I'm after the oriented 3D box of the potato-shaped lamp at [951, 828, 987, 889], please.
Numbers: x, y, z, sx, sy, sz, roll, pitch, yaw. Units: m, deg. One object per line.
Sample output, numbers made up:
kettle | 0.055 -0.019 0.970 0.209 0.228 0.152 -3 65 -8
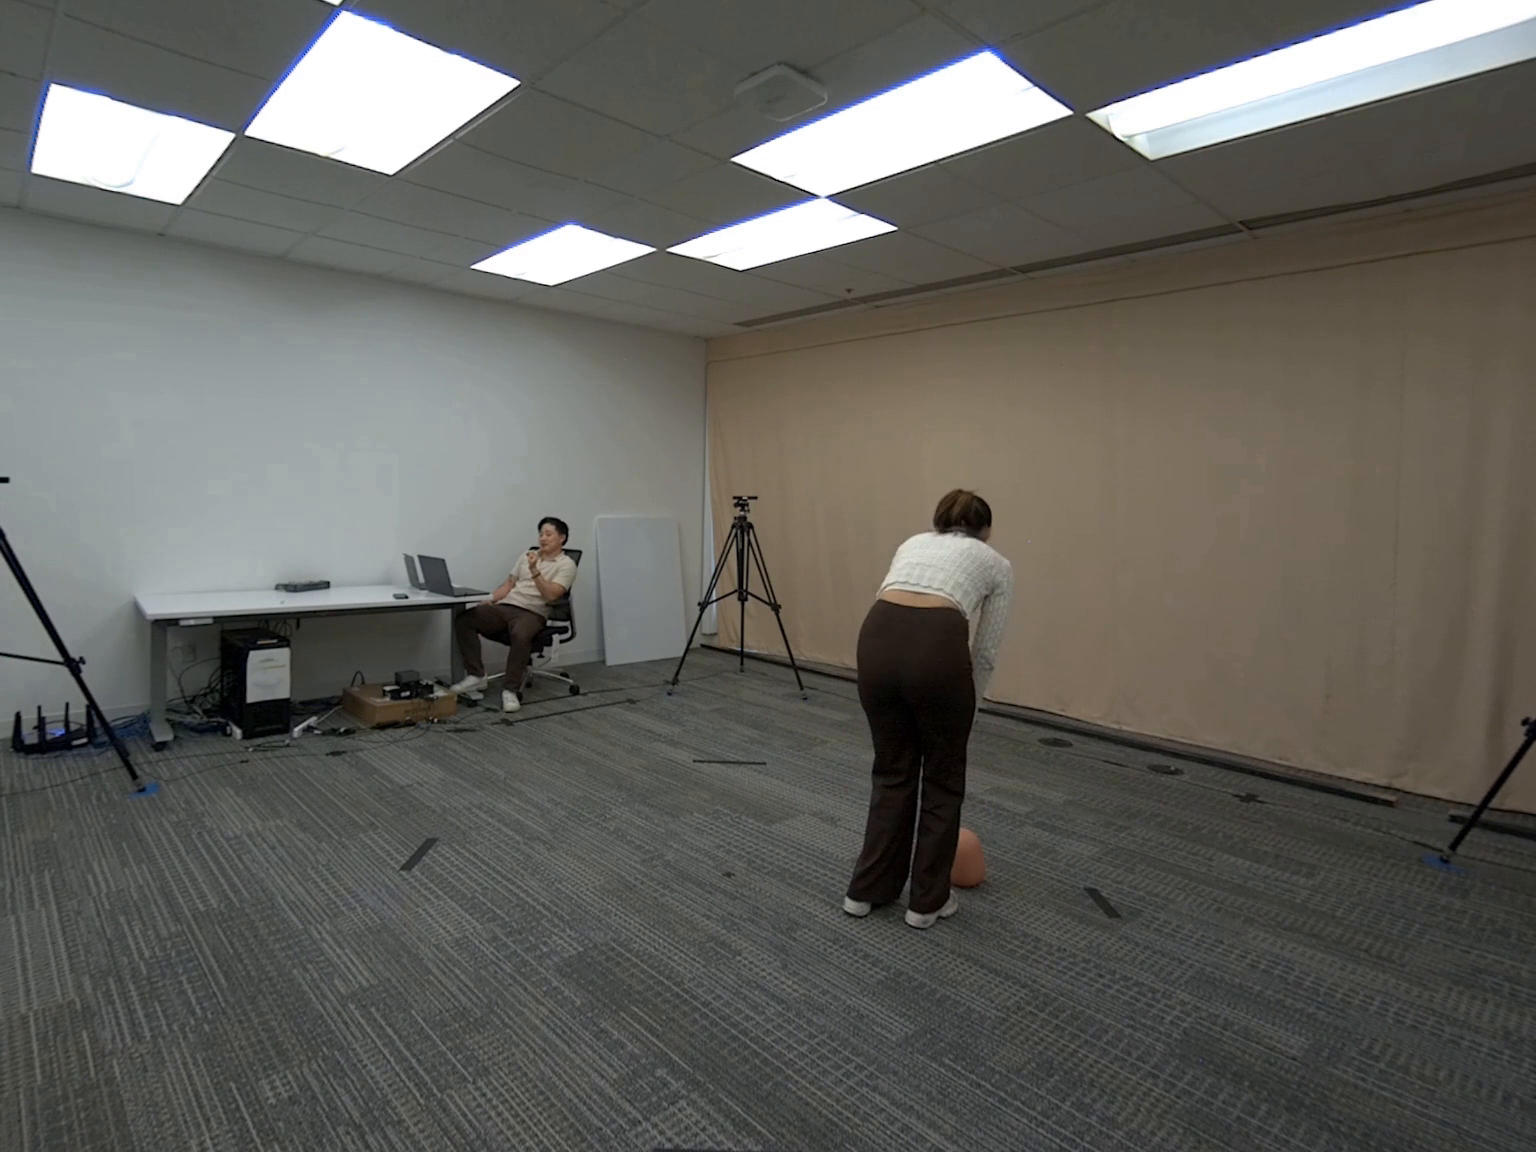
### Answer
potato-shaped lamp | 0.702 1.024 3.094 0.168 0.198 0.167 2 0 35
